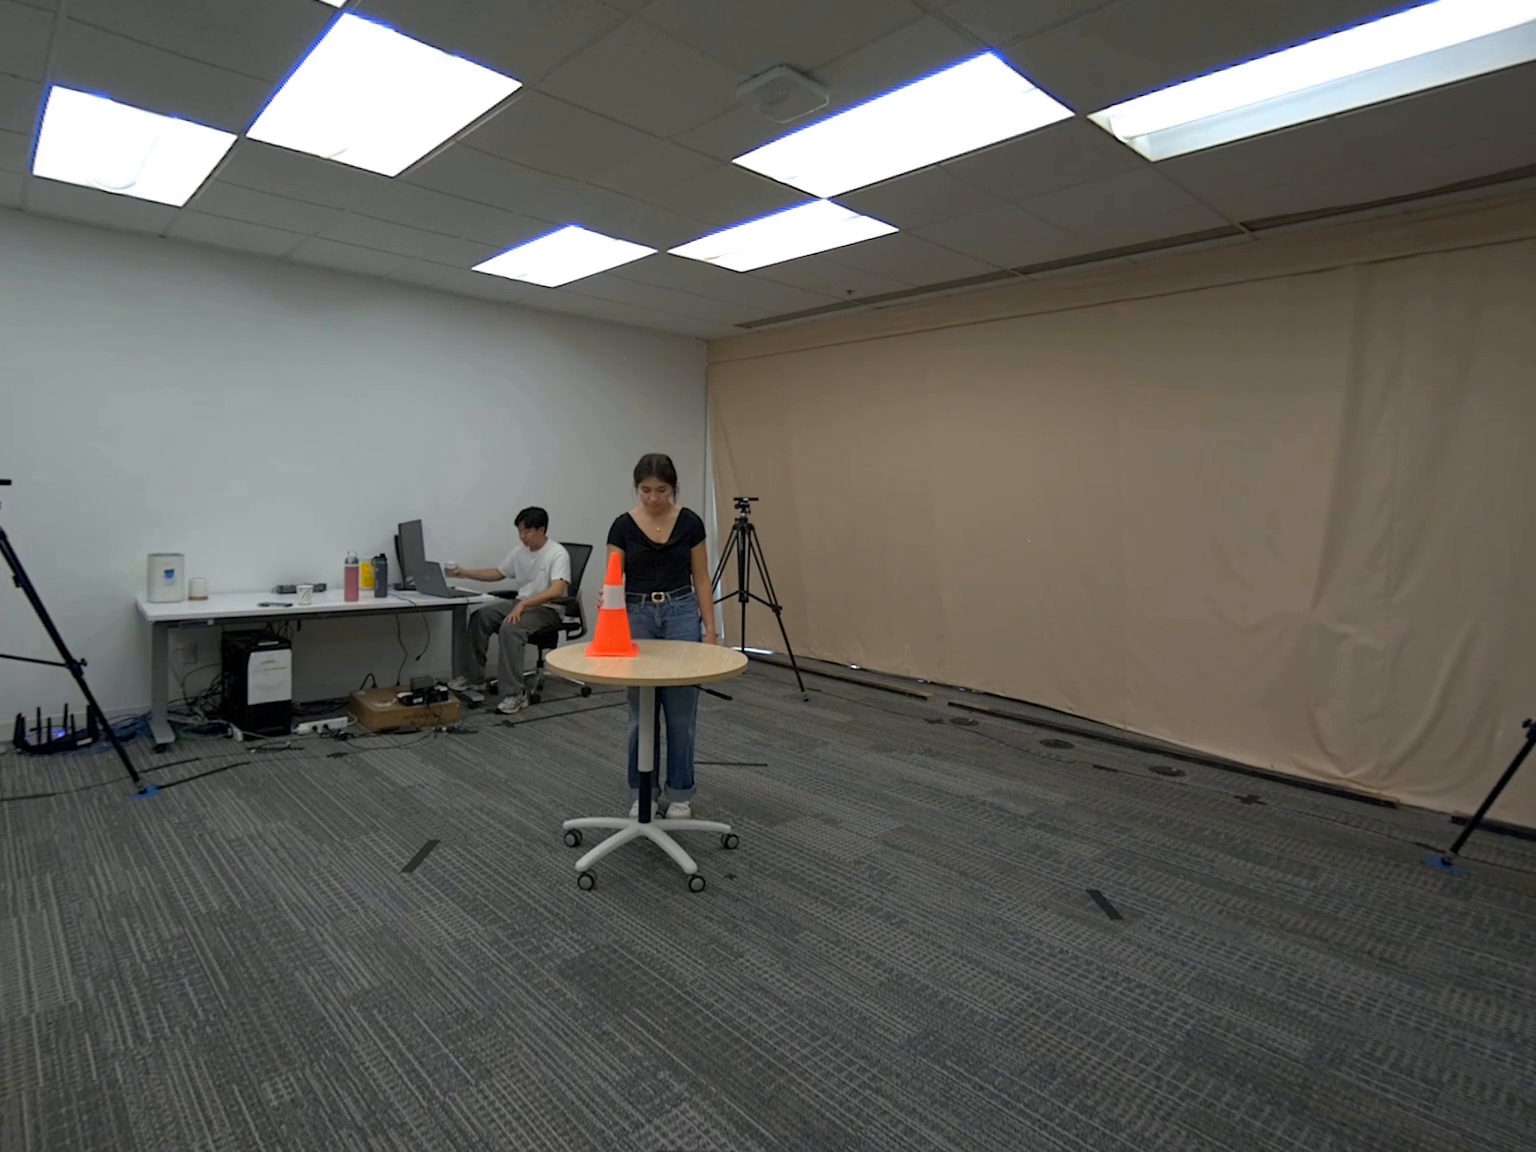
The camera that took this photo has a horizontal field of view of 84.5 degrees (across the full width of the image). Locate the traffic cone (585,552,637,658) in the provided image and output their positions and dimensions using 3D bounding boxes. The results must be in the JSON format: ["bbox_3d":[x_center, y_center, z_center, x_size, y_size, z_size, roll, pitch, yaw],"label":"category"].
[{"bbox_3d":[-0.607,0.105,3.266,0.203,0.382,0.205,3,4,-9],"label":"traffic cone"}]
